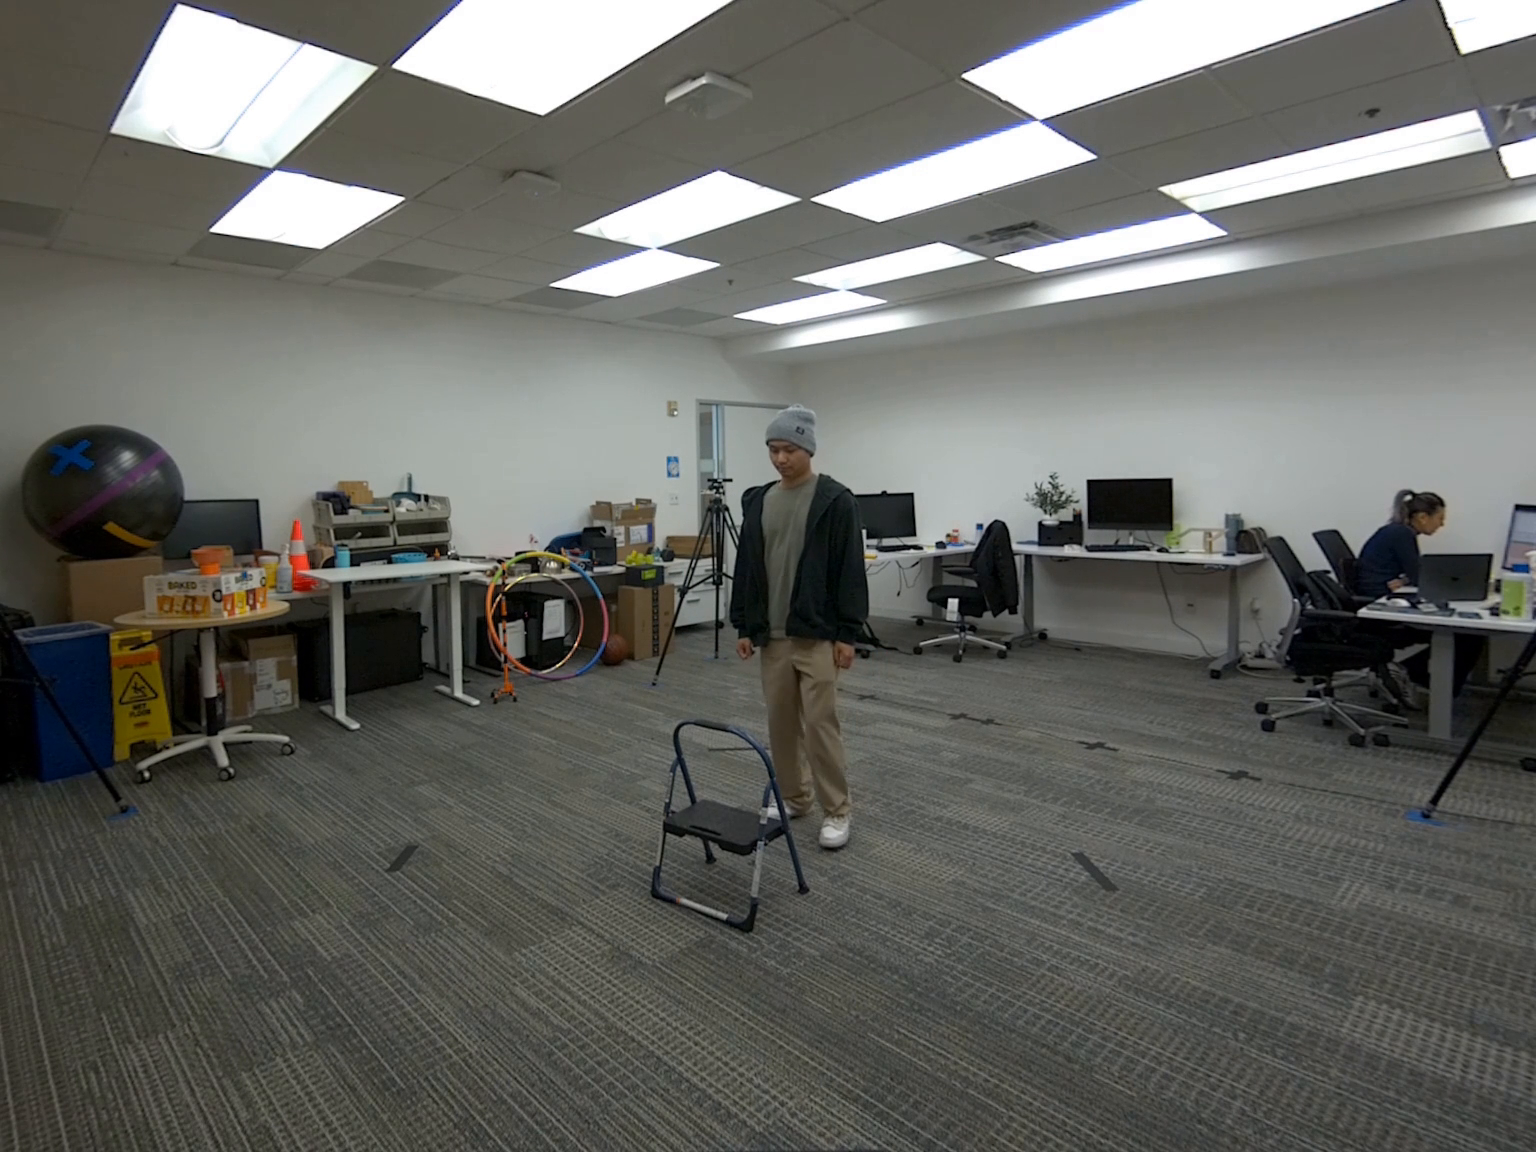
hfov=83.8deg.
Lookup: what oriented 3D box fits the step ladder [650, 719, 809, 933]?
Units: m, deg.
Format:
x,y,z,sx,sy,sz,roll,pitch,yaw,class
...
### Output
x,y,z,sx,sy,sz,roll,pitch,yaw,class
-0.135,0.770,2.866,0.443,0.604,0.341,2,5,35,step ladder
